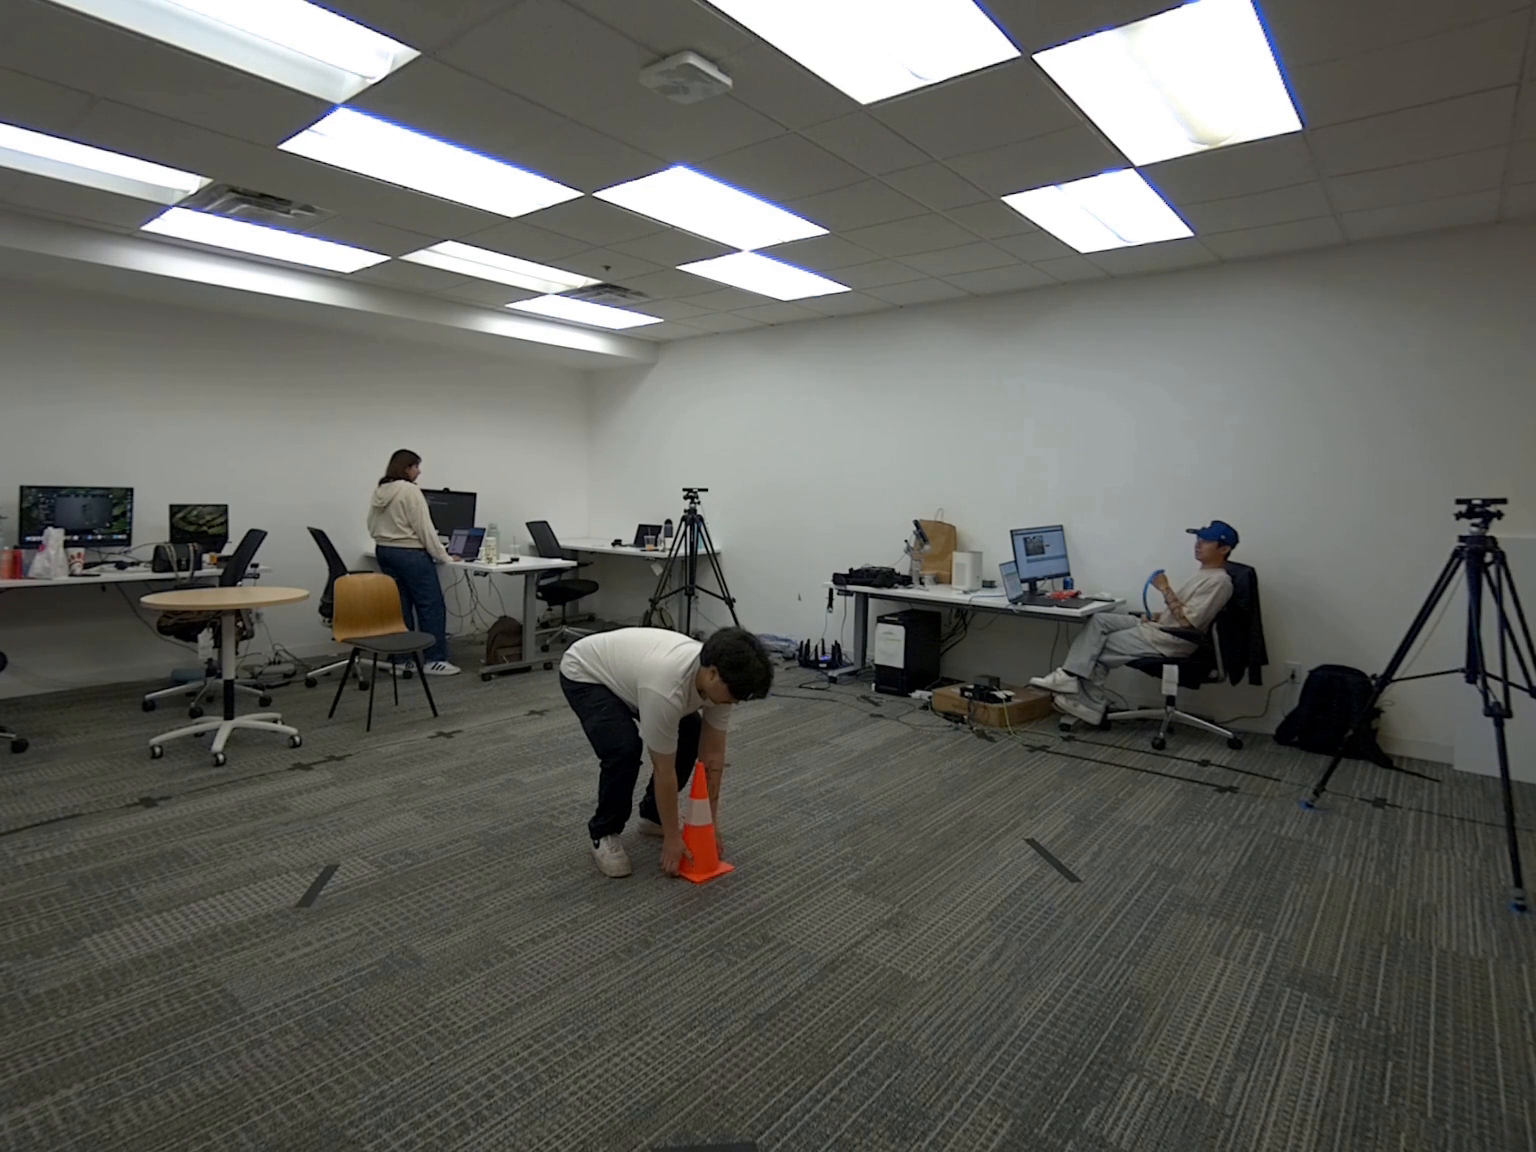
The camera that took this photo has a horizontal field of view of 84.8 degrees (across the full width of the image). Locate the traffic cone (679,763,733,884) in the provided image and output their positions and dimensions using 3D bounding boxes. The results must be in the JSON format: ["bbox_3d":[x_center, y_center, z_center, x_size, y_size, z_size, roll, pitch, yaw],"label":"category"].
[{"bbox_3d":[-0.263,0.879,3.133,0.199,0.384,0.209,3,-1,-33],"label":"traffic cone"}]
